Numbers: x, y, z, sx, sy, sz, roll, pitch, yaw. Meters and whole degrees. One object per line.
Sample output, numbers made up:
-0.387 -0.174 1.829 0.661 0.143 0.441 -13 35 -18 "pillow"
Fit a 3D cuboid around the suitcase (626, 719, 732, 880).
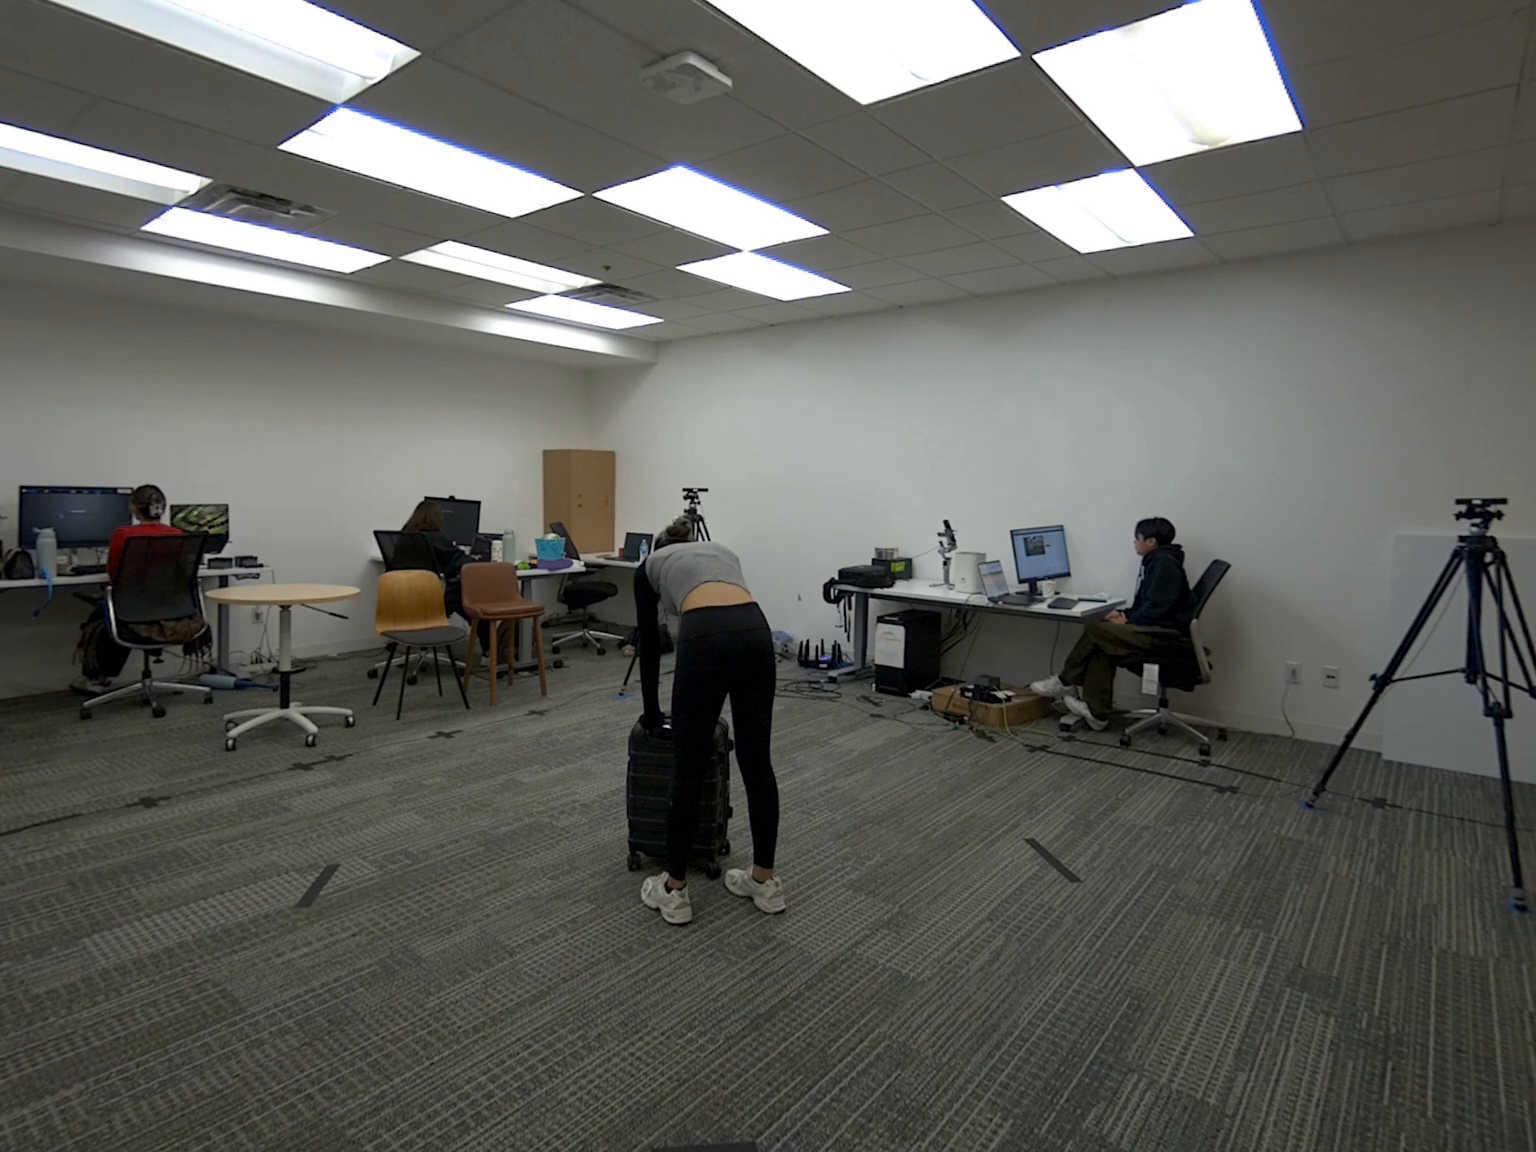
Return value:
-0.343 0.786 3.186 0.380 0.549 0.245 1 1 11 "suitcase"
